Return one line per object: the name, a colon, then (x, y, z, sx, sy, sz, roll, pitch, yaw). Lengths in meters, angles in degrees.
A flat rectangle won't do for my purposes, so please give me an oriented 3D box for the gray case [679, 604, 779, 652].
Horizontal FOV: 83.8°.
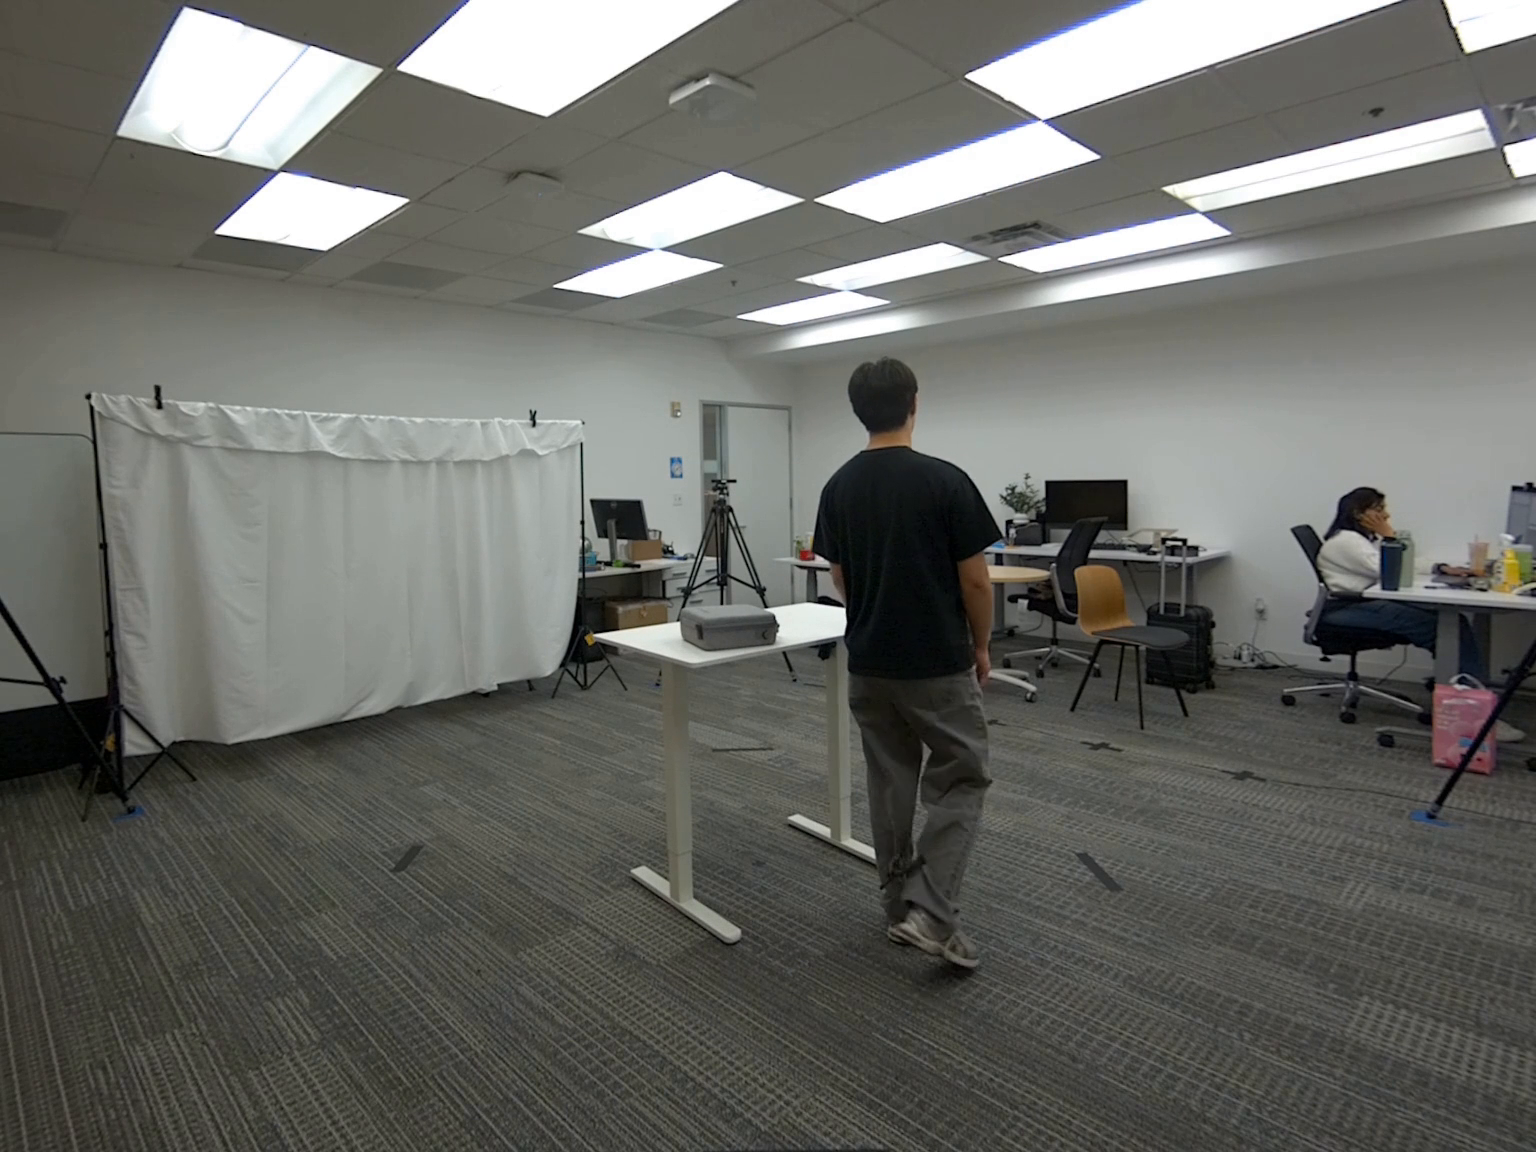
gray case: (-0.118, 0.156, 2.738, 0.281, 0.103, 0.269, -3, 6, -23)
